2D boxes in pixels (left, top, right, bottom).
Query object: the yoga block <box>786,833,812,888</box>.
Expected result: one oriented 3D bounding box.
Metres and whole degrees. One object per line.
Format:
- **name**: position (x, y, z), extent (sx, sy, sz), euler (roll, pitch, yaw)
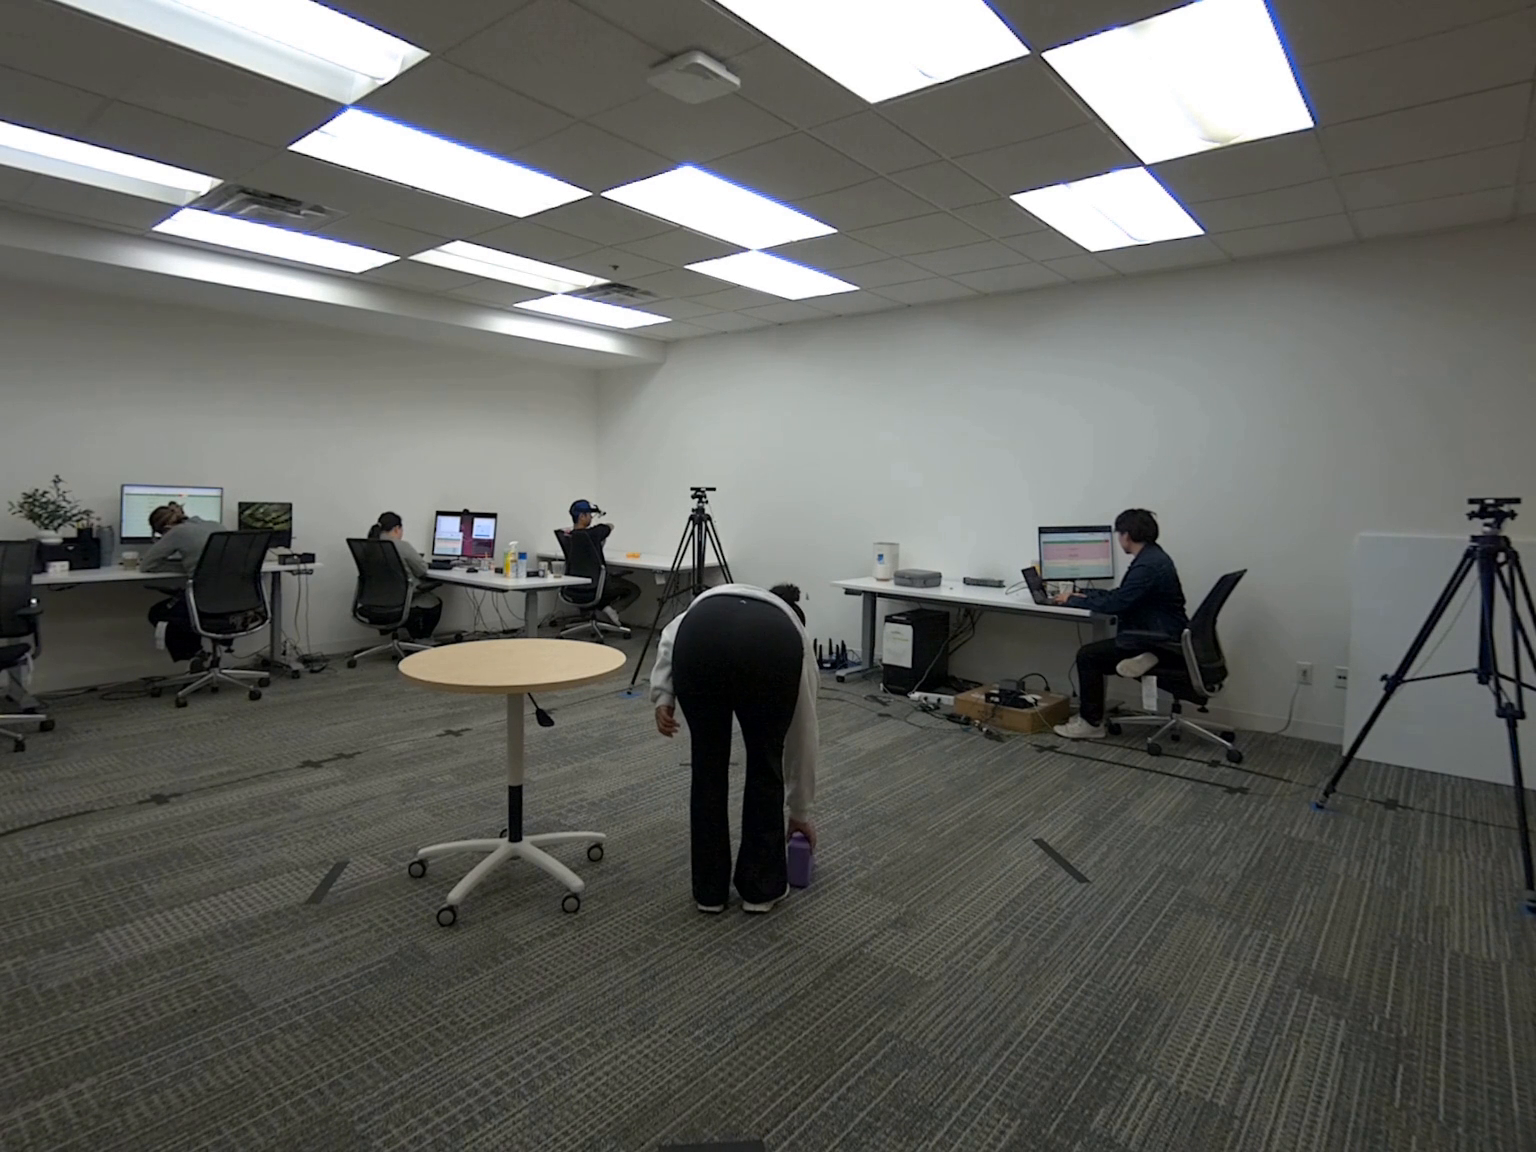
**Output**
- **yoga block**: position (0.108, 0.988, 3.075), extent (0.077, 0.149, 0.227), euler (4, 1, 9)
